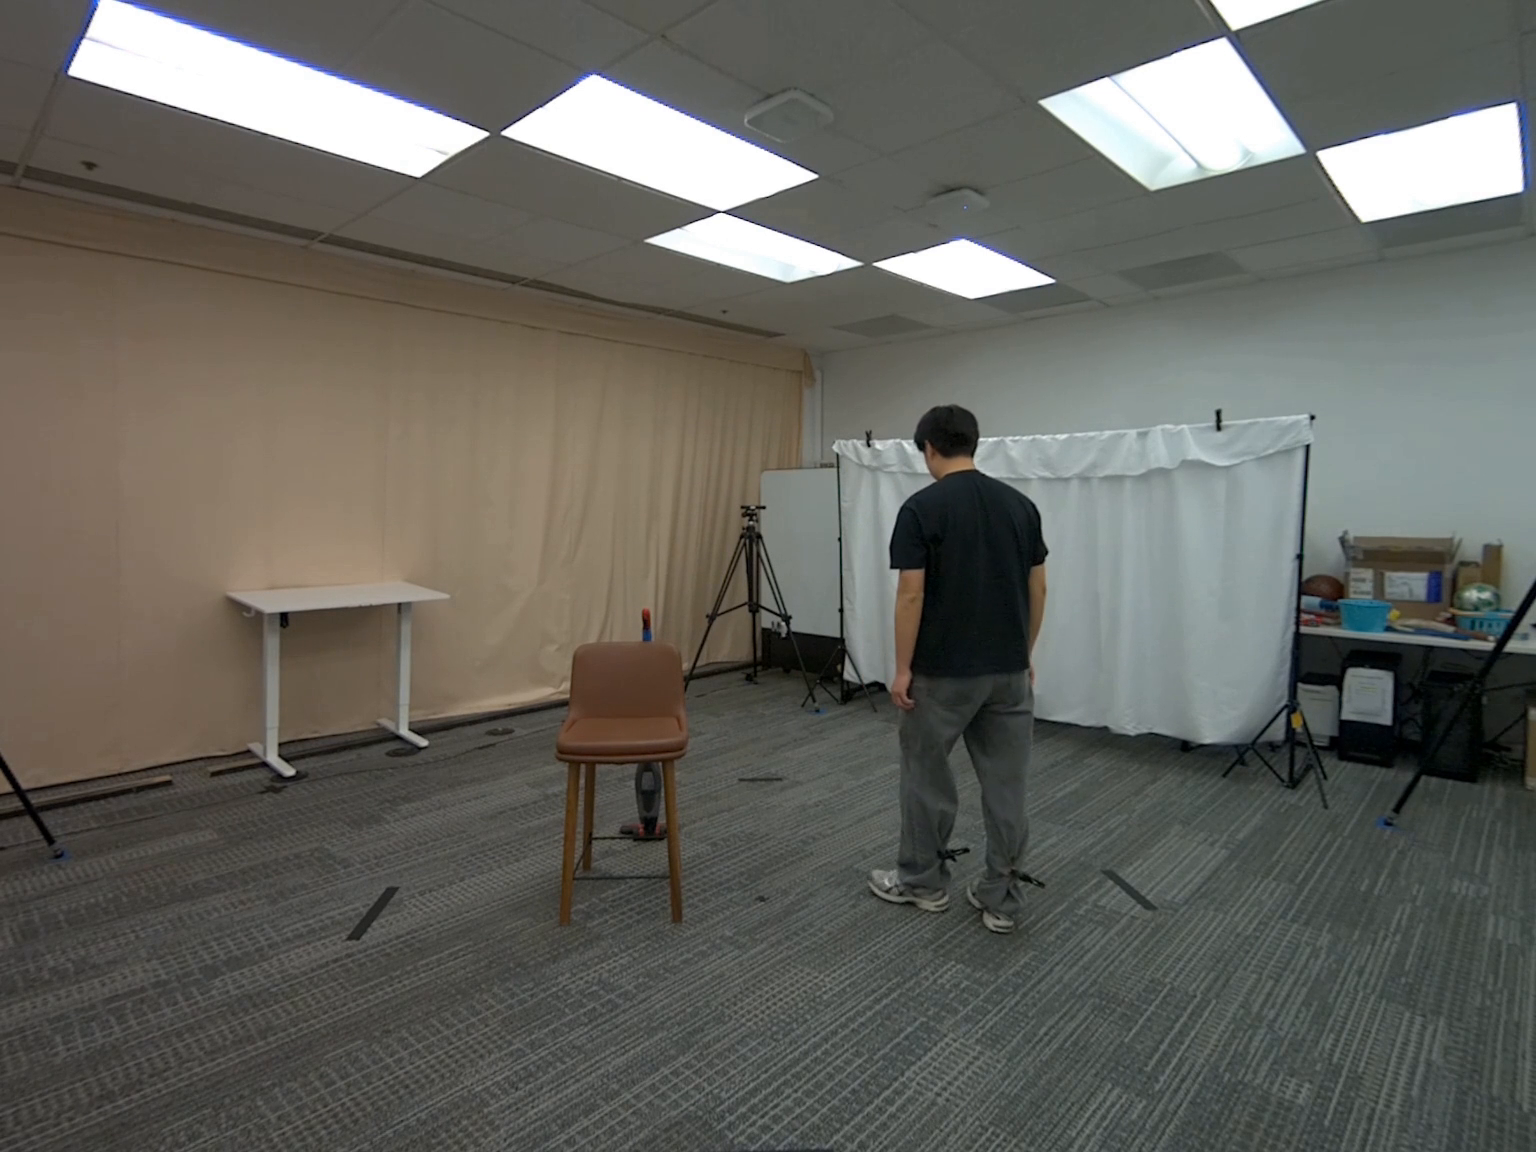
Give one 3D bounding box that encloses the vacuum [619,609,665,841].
[{"bbox_3d":[-0.481,0.611,3.392,0.249,1.038,0.147,-1,21,-14],"label":"vacuum"}]
